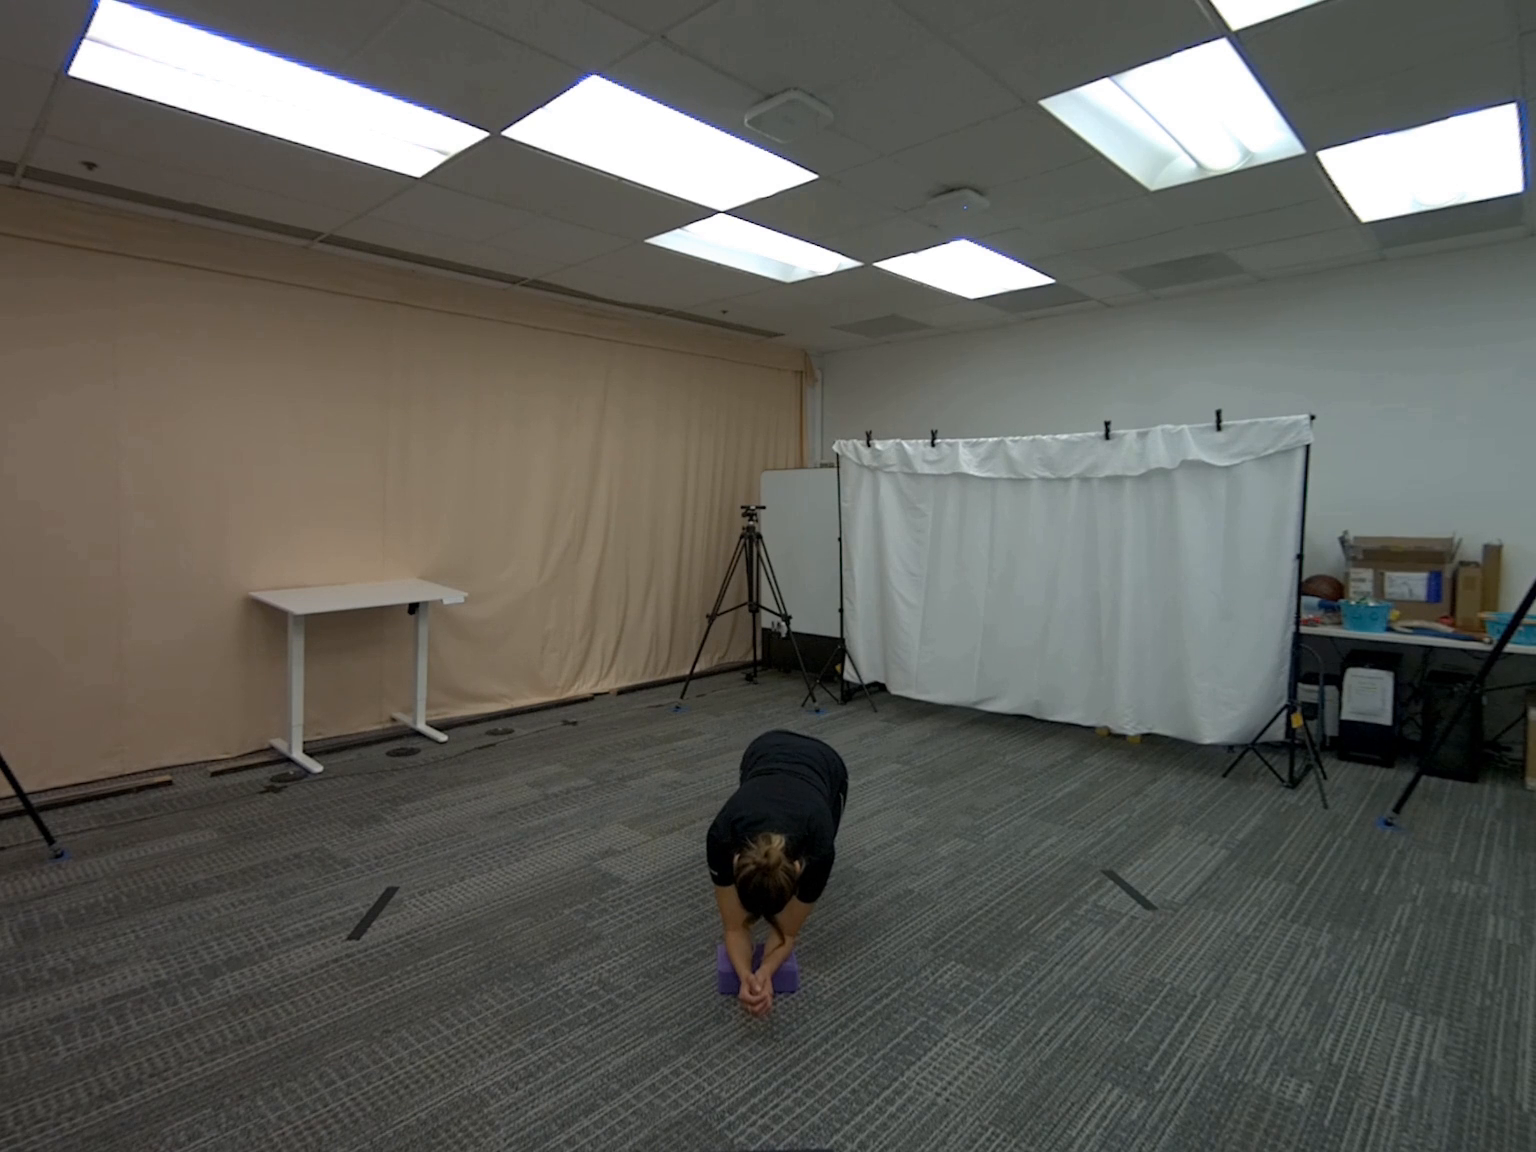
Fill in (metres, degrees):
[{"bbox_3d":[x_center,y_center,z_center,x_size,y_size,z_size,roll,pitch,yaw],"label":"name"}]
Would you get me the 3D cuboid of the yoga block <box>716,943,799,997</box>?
[{"bbox_3d":[-0.032,1.142,2.471,0.229,0.076,0.149,-1,6,0],"label":"yoga block"}]
